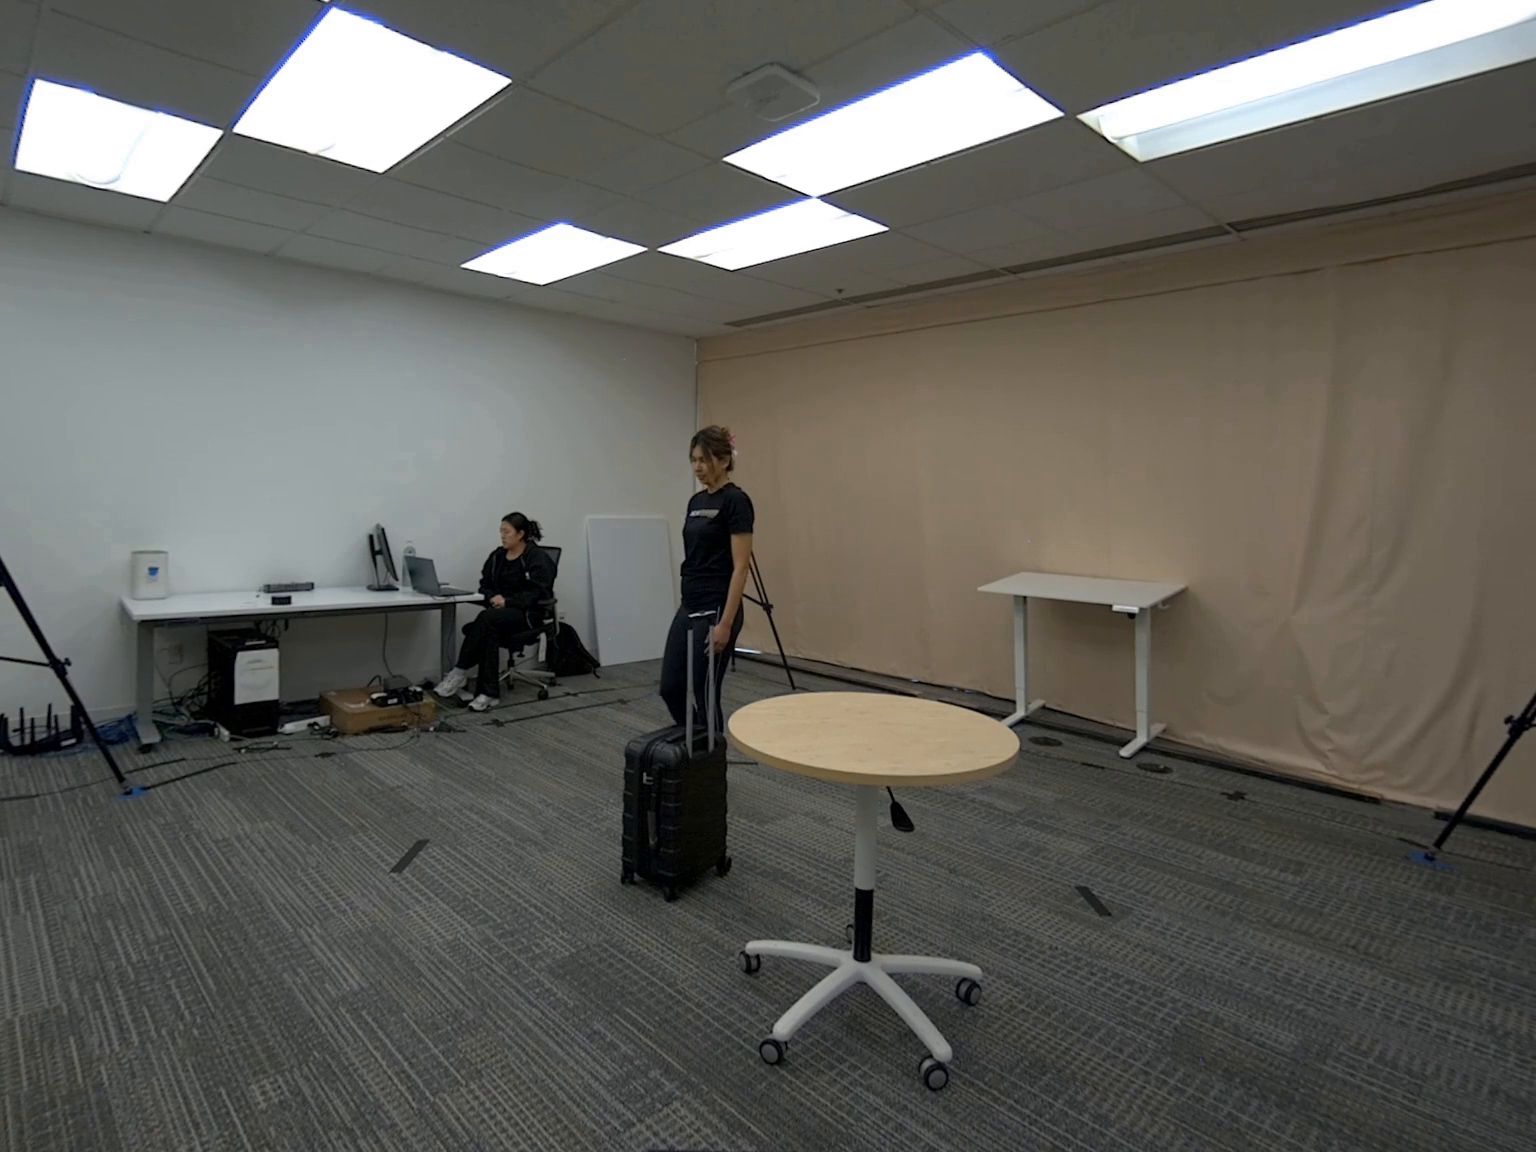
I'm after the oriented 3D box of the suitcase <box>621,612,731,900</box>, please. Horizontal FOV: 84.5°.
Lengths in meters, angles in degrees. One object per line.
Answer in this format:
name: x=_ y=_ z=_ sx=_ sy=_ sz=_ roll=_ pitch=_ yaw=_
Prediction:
suitcase: x=-0.345 y=0.628 z=3.038 sx=0.263 sy=0.976 sz=0.376 roll=2 pitch=4 yaw=34
